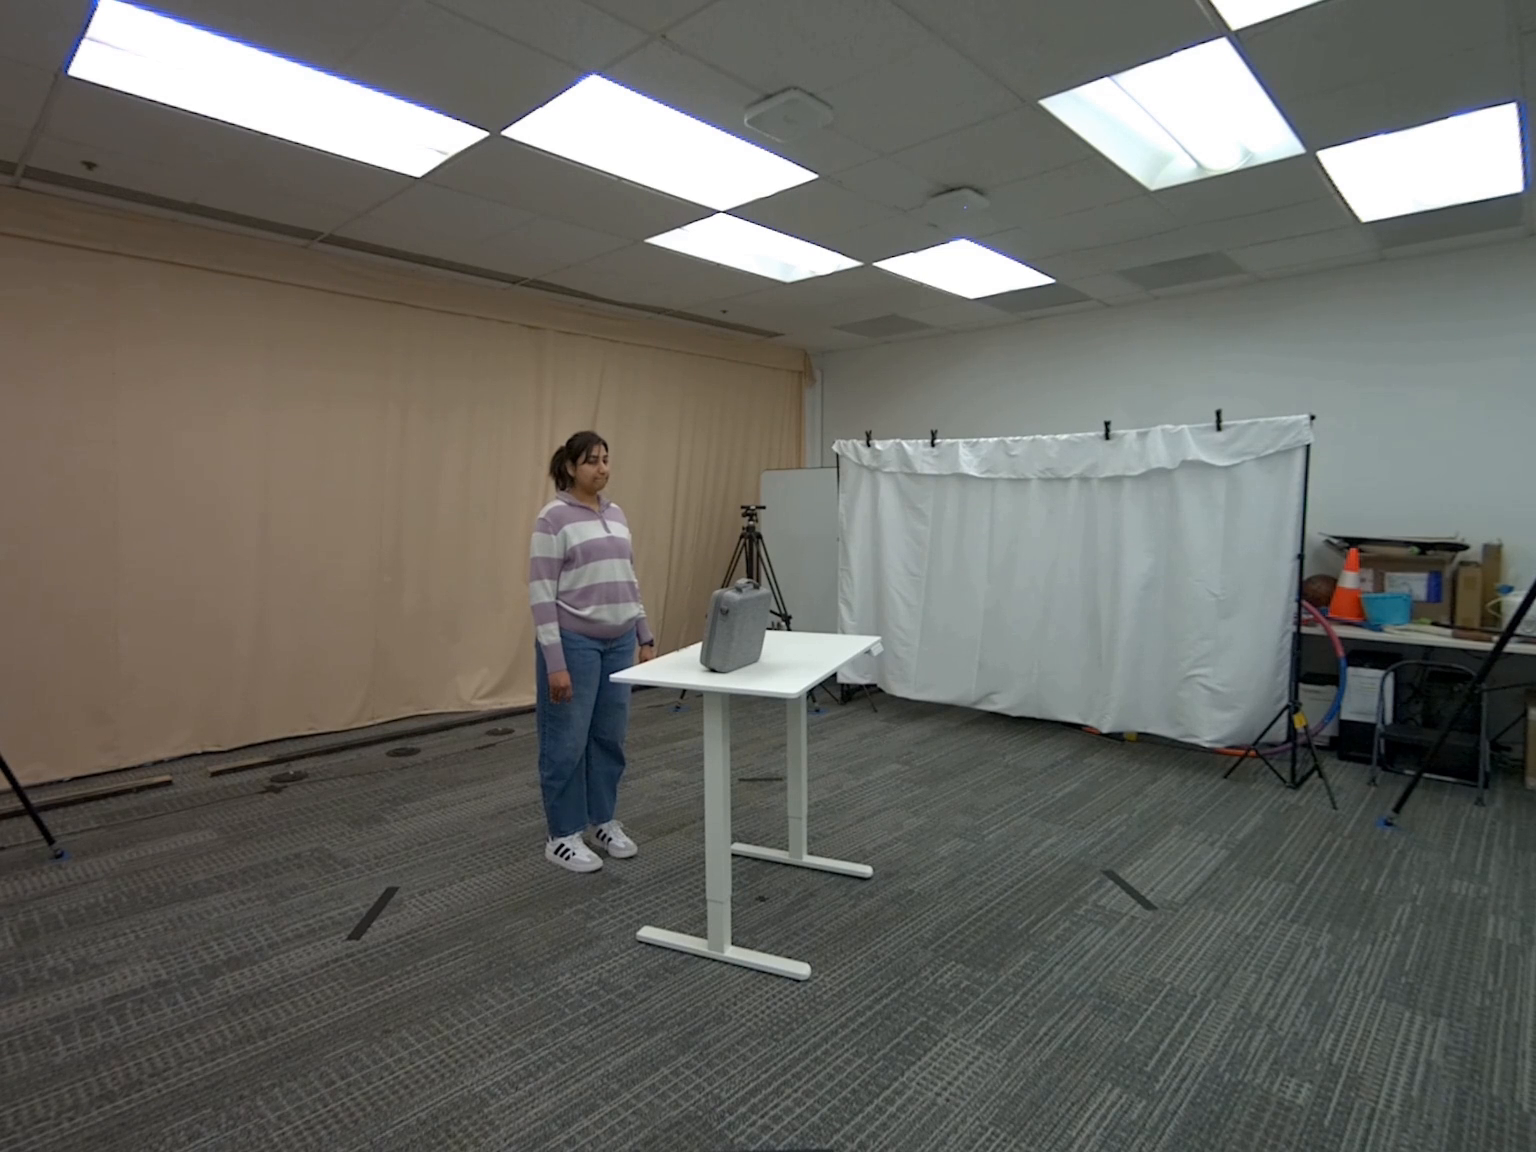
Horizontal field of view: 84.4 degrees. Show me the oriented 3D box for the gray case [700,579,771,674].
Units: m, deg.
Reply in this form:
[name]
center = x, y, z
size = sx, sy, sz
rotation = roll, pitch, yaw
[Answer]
[gray case]
center = -0.093, 0.158, 2.670
size = 0.107, 0.259, 0.251
rotation = 15, 12, 26
